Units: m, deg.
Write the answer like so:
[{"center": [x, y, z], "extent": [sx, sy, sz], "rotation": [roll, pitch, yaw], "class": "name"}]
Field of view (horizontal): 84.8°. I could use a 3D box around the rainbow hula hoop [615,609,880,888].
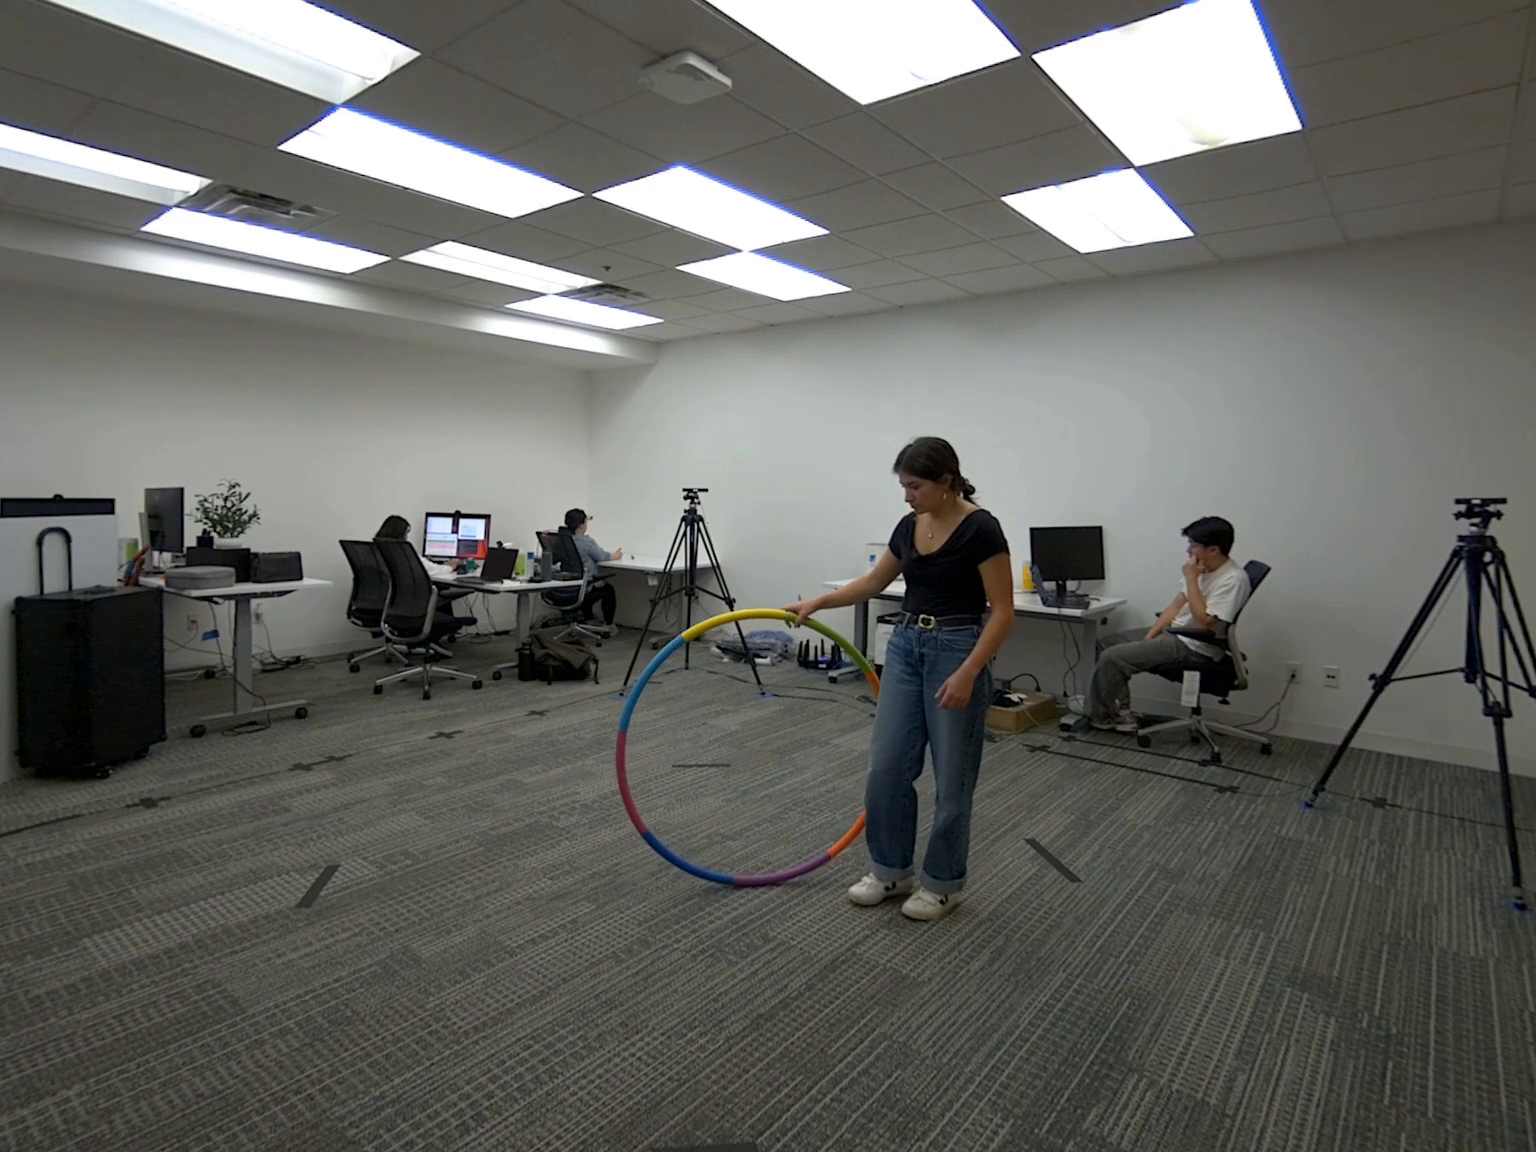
[{"center": [-0.034, 0.600, 2.973], "extent": [0.966, 0.976, 0.036], "rotation": [0, 2, -12], "class": "rainbow hula hoop"}]
